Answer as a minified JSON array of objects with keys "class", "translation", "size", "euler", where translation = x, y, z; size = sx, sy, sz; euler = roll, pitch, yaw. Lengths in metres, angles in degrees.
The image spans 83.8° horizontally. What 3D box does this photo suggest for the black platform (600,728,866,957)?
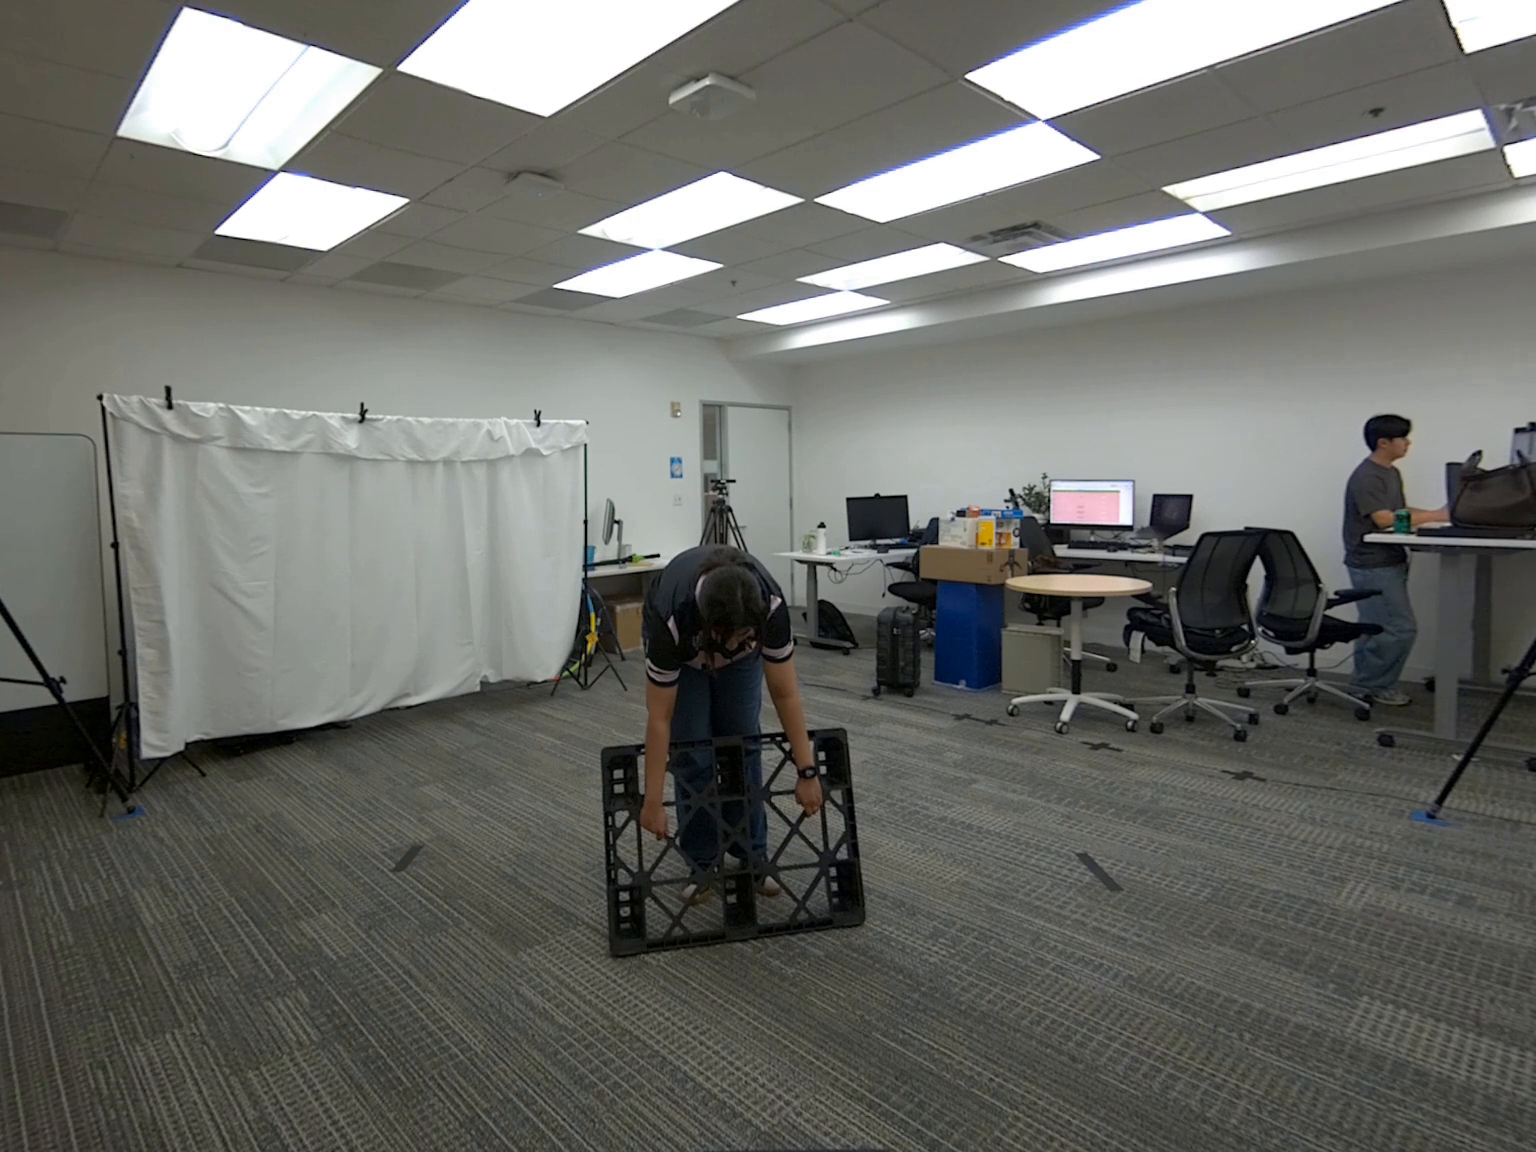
[{"class":"black platform","translation":[-0.110,0.820,2.701],"size":[0.797,0.612,0.143],"euler":[-2,-11,-11]}]
